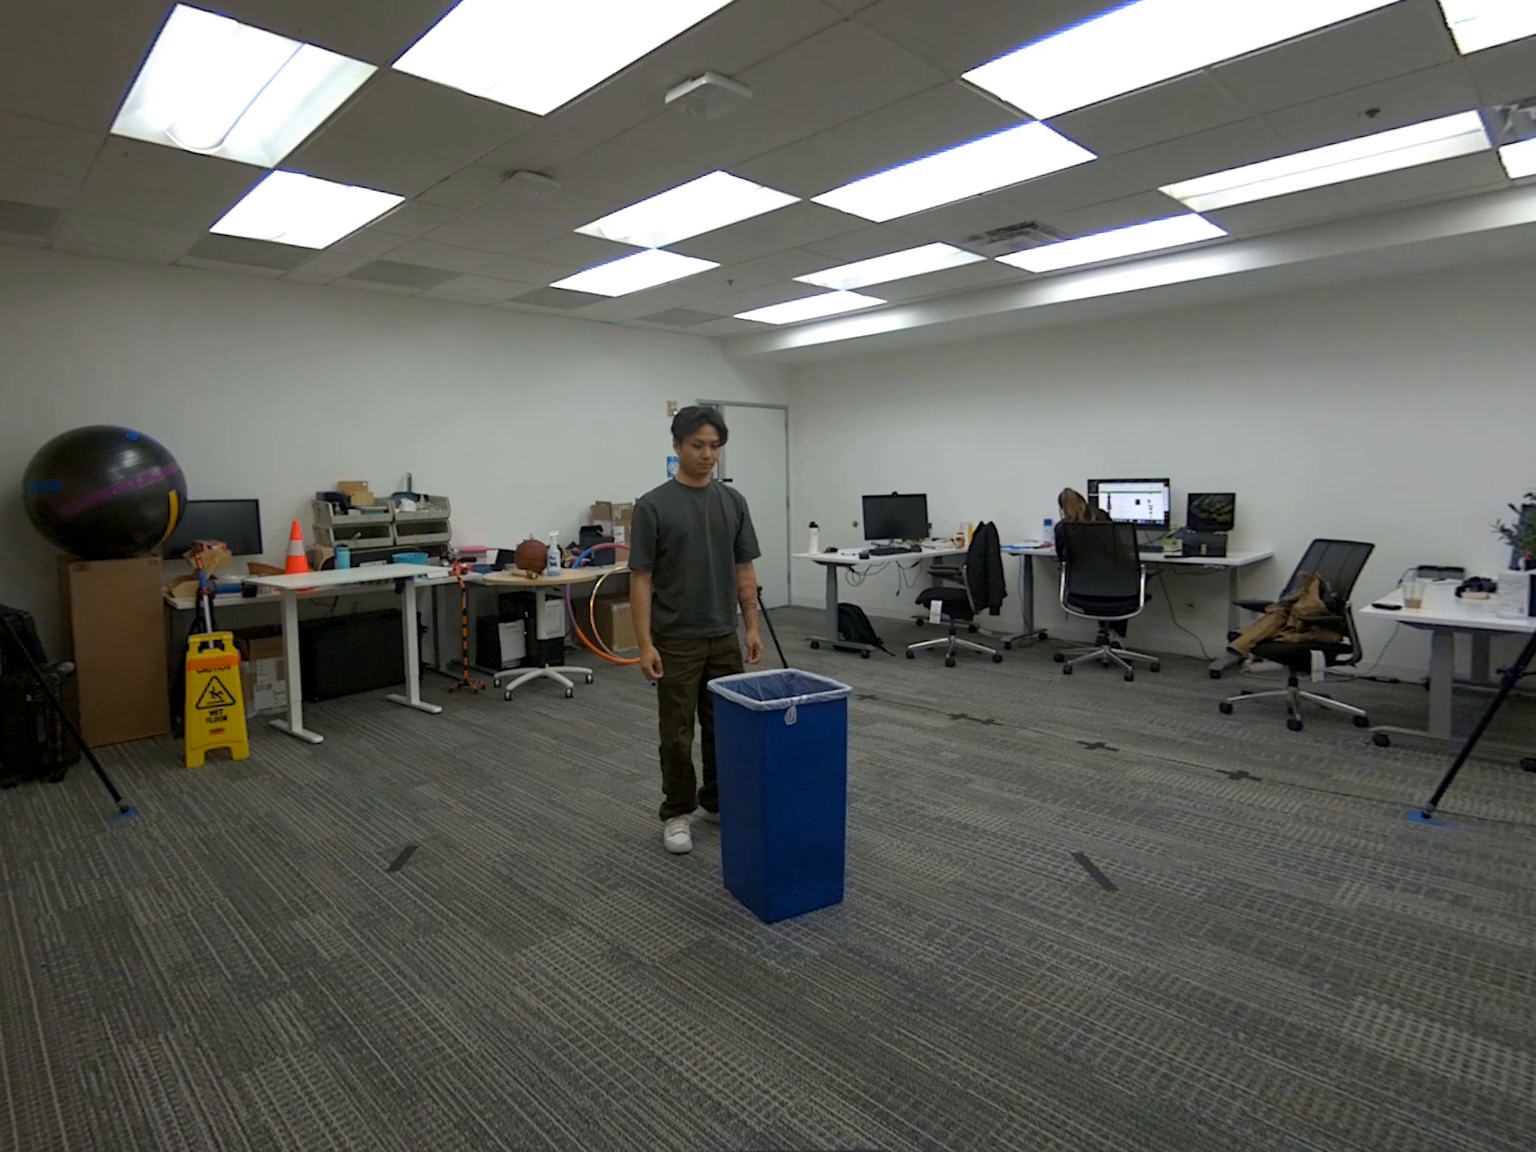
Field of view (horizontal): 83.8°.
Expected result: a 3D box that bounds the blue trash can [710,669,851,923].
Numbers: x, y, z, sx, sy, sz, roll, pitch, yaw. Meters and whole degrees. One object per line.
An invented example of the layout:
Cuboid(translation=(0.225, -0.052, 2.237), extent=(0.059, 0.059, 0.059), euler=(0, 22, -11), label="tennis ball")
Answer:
Cuboid(translation=(0.051, 0.714, 2.861), extent=(0.365, 0.711, 0.388), euler=(-4, 5, -30), label="blue trash can")
